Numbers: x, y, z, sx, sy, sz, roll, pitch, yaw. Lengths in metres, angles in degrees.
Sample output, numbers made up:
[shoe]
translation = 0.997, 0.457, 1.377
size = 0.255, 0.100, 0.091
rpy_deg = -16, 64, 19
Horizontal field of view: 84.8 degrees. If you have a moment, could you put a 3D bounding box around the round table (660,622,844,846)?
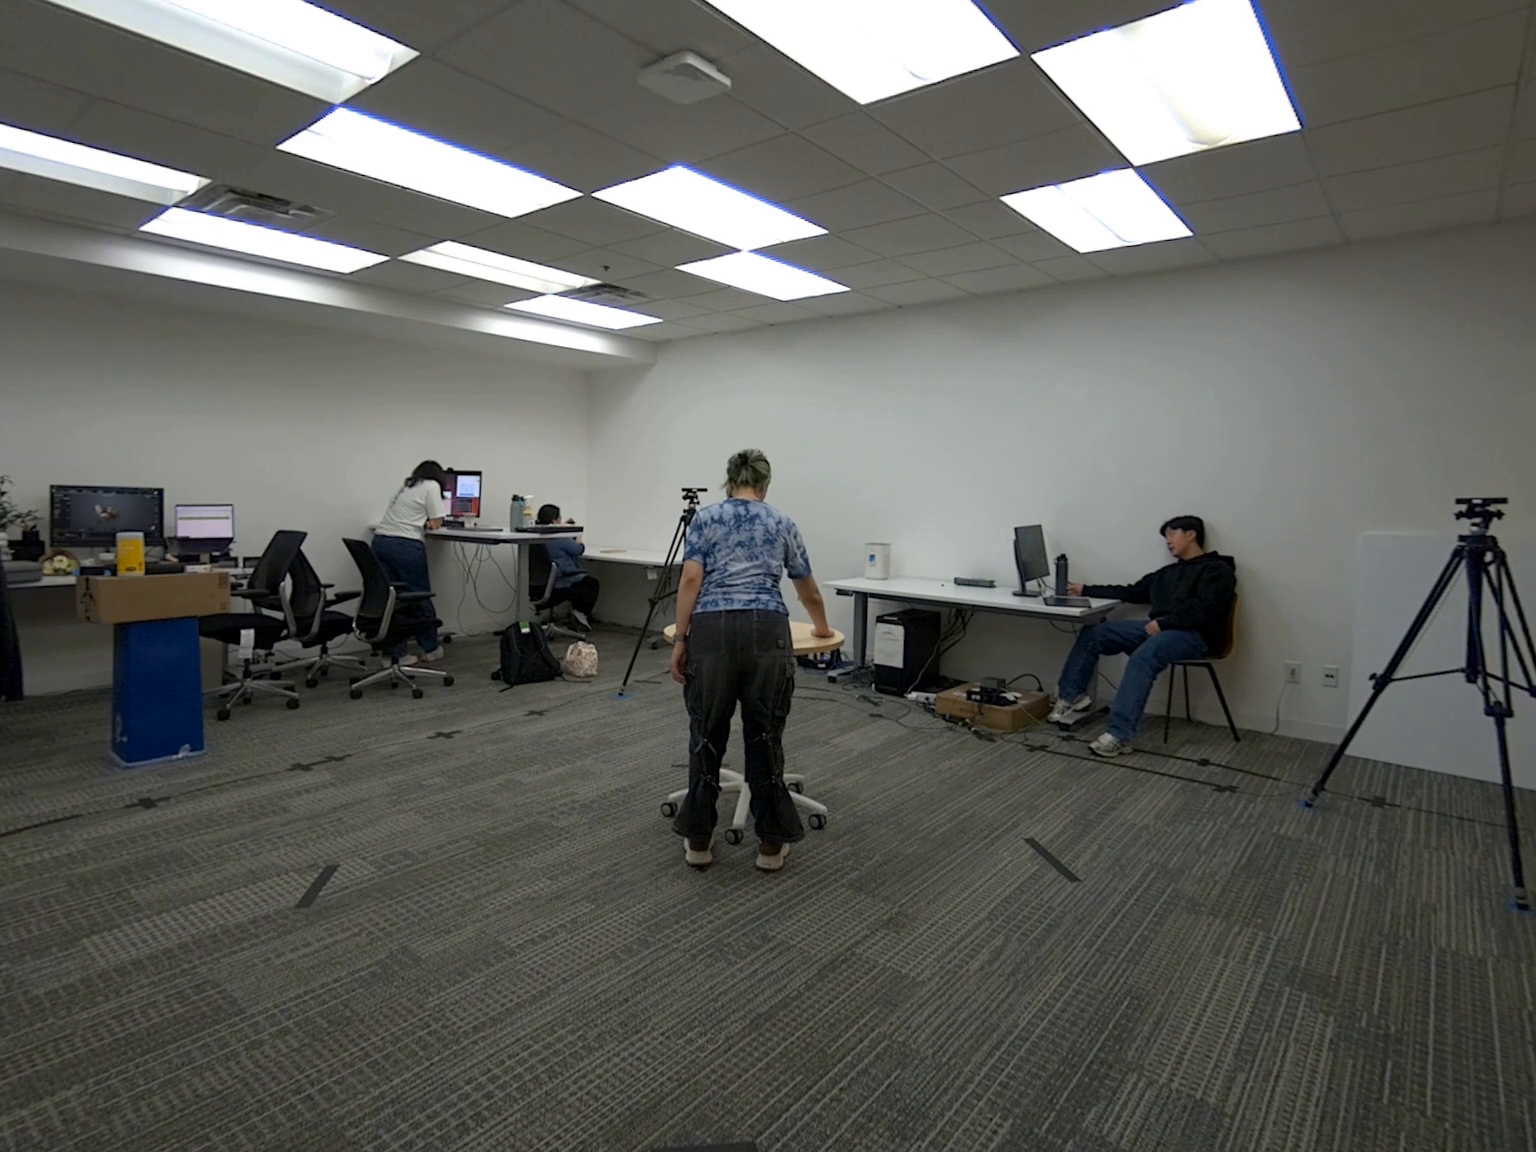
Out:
[round table]
translation = -0.070, 0.625, 3.628
size = 0.784, 0.784, 0.789
rpy_deg = 1, 4, -2
